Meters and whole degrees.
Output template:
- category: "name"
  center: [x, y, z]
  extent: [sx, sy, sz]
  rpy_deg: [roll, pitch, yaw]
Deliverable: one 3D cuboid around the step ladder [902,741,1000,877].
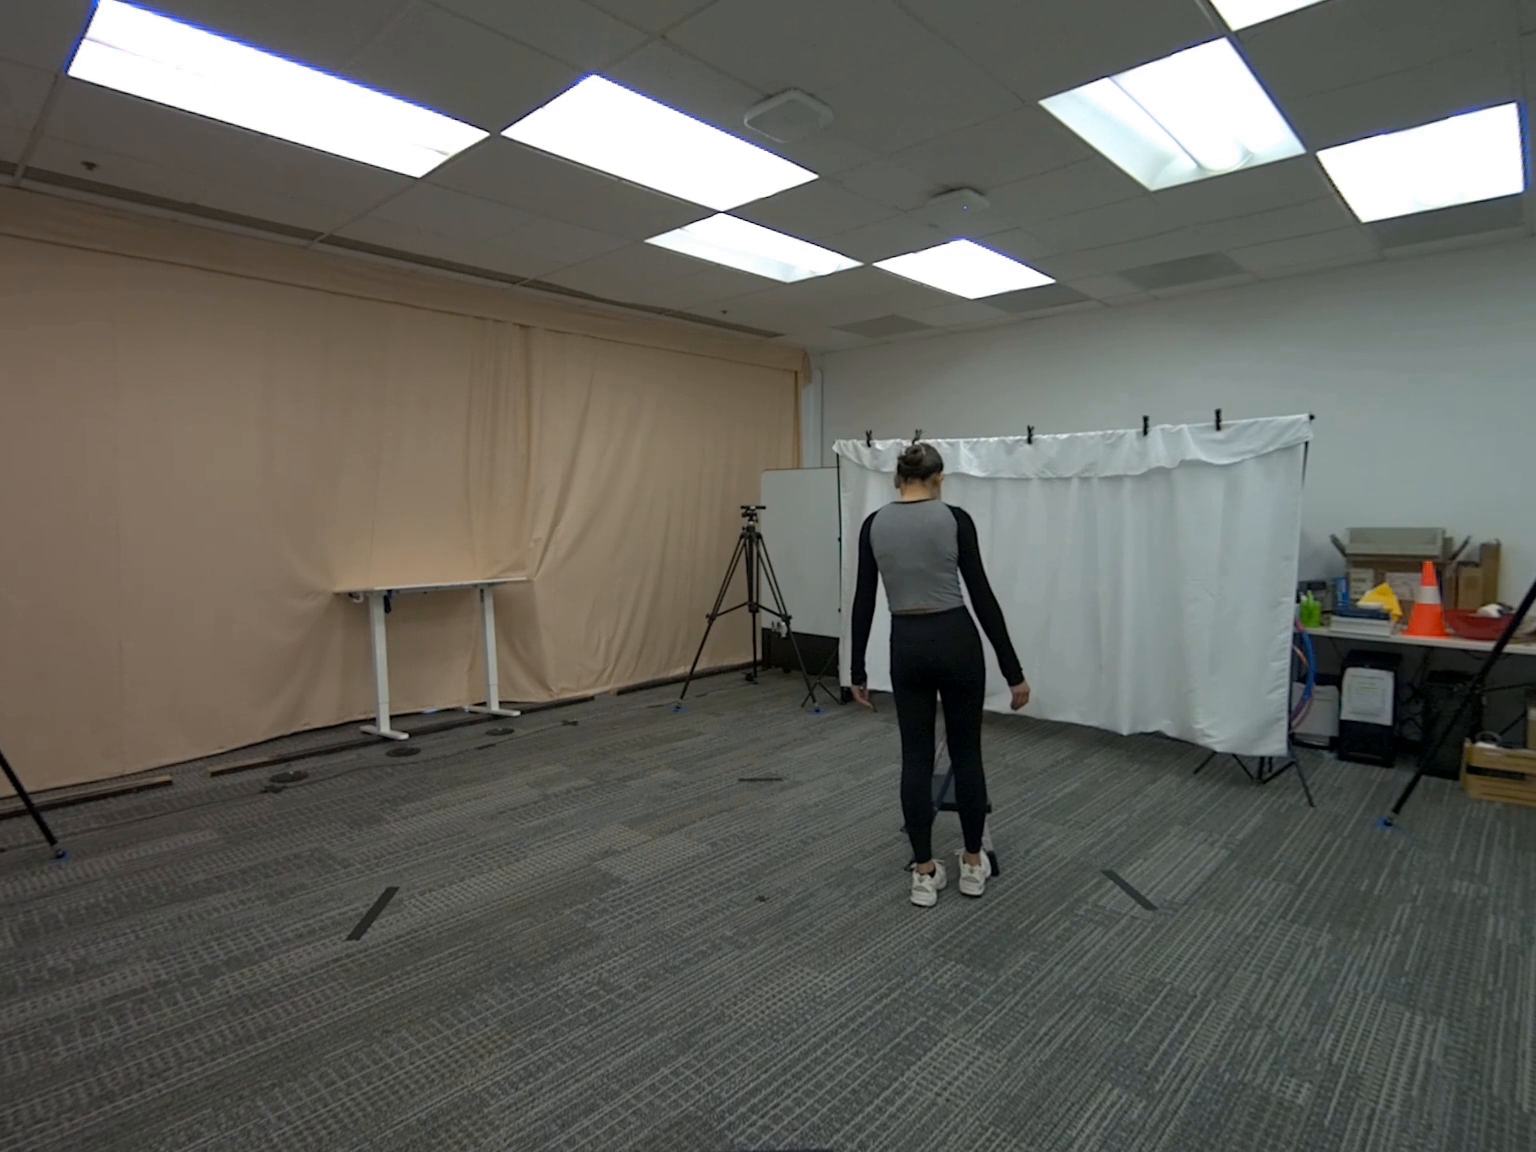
- category: "step ladder"
  center: [0.734, 0.814, 3.382]
  extent: [0.353, 0.605, 0.427]
  rpy_deg: [0, 2, 8]
